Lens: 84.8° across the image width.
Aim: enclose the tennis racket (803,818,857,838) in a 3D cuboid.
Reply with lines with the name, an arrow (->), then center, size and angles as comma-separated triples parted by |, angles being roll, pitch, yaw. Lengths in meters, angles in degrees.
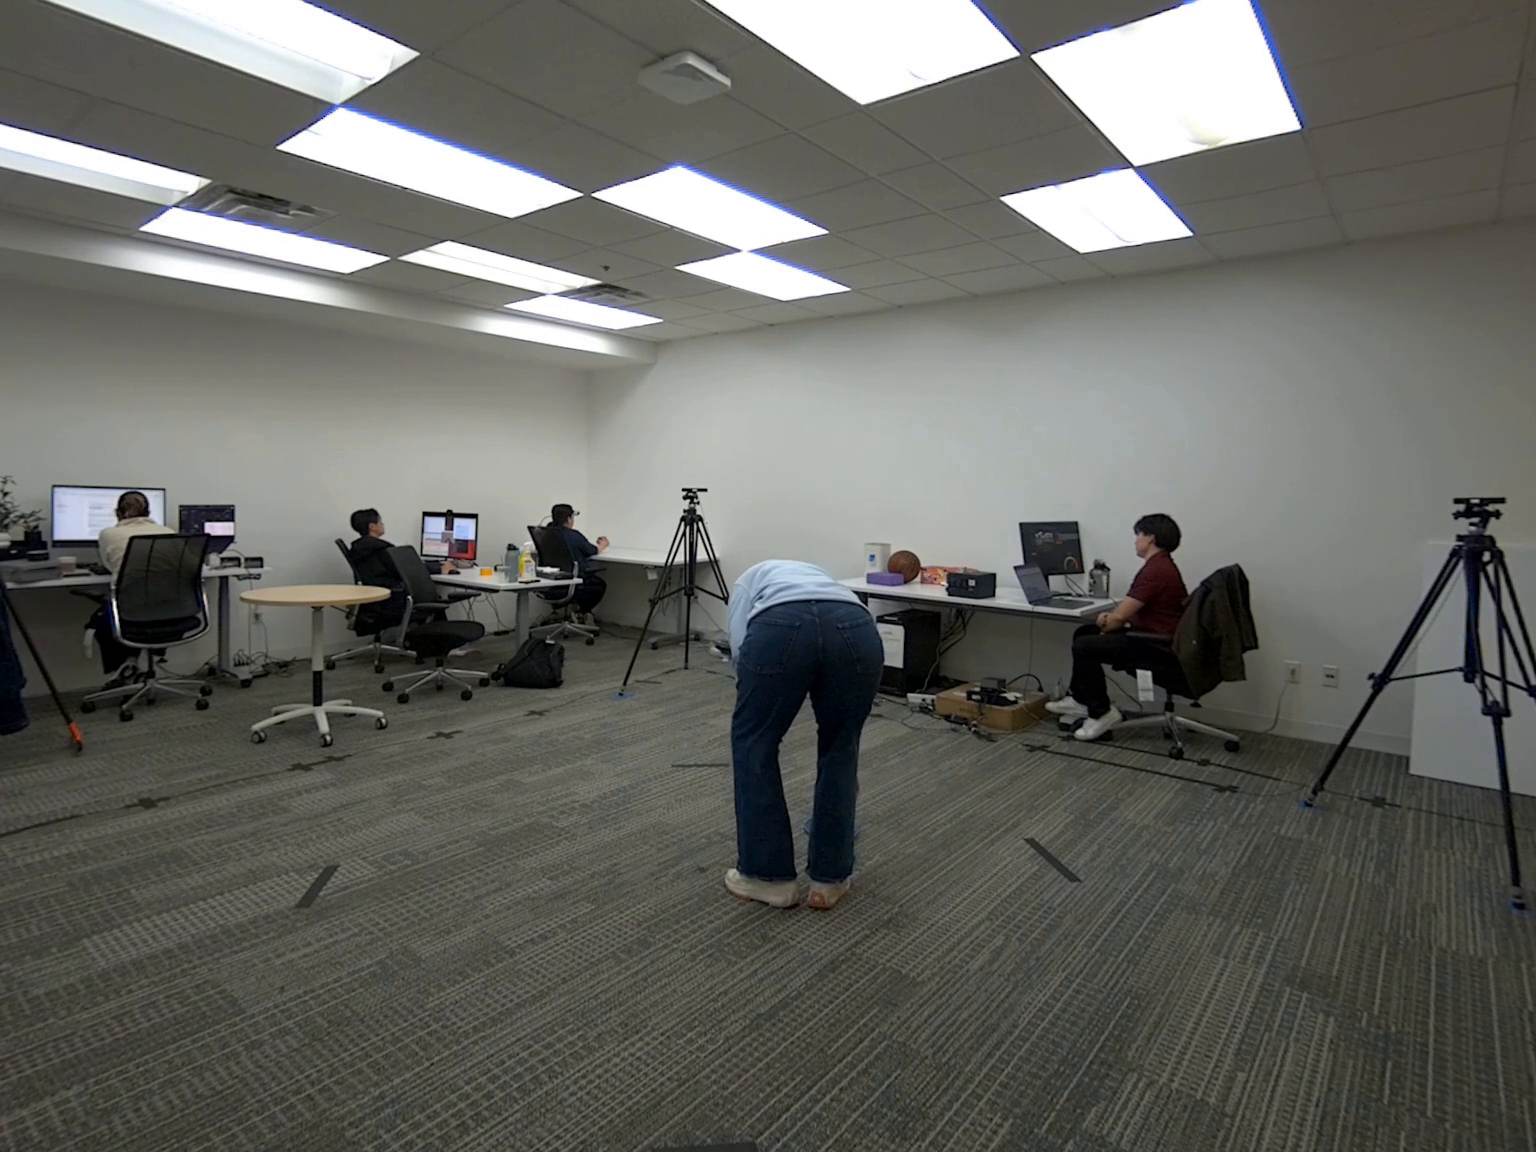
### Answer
tennis racket -> 0.263, 1.031, 3.401 | 0.211, 0.031, 0.439 | -1, 5, -12
